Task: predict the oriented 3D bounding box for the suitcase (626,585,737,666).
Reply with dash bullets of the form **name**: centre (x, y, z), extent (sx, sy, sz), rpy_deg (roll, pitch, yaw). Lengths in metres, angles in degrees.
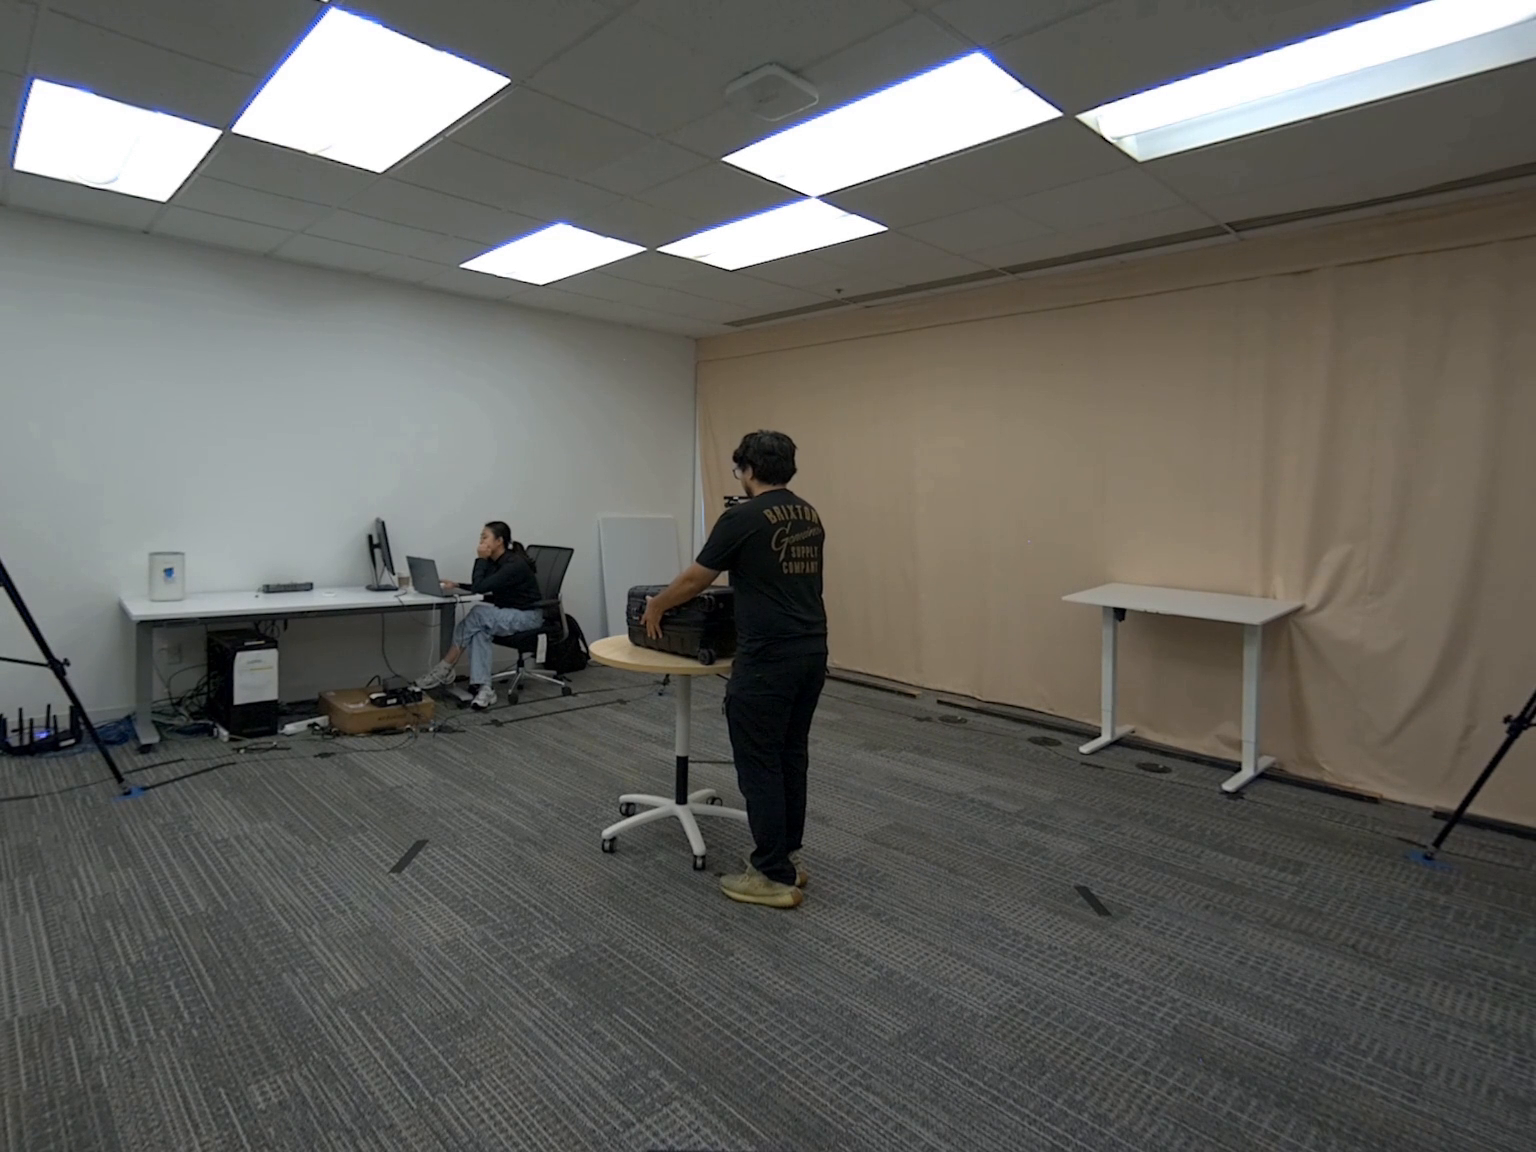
- **suitcase**: centre (-0.301, 0.172, 3.362), extent (0.367, 0.247, 0.563), rpy_deg (-5, 6, -44)
